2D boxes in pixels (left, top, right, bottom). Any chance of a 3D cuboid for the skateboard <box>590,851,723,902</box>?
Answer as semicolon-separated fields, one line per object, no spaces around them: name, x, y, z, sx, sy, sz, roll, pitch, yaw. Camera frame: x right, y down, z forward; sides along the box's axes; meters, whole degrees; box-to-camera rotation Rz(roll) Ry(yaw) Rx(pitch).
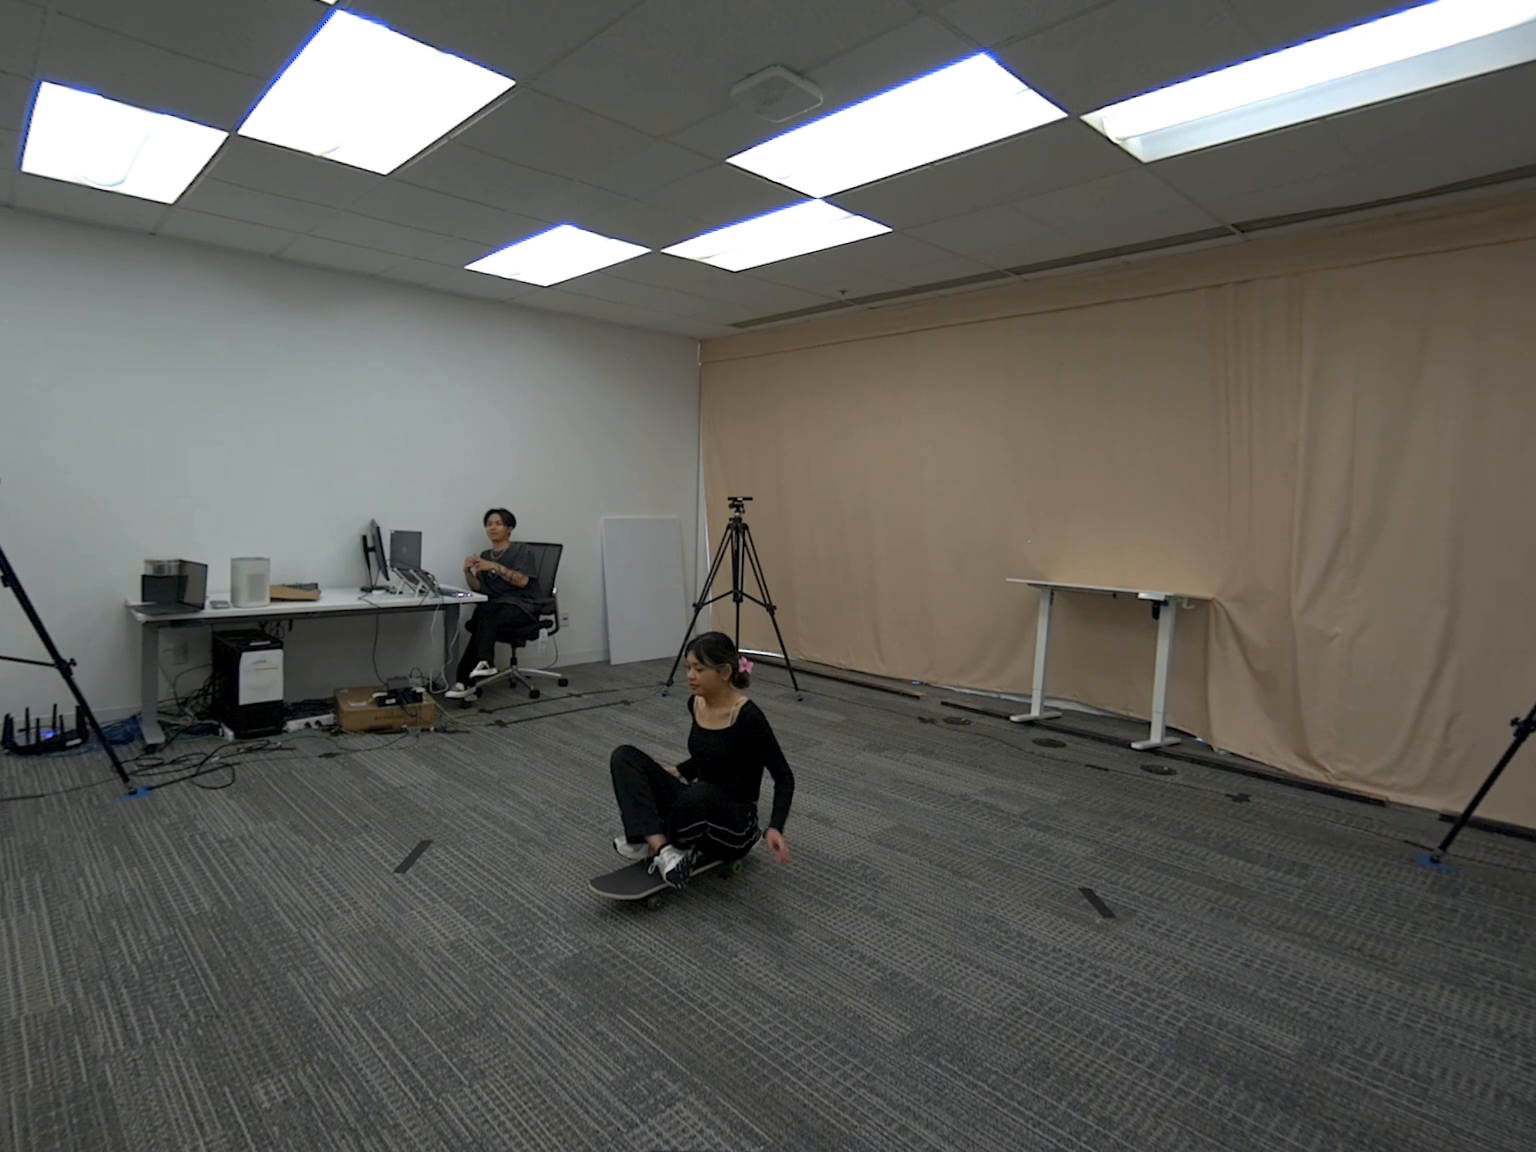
skateboard;-0.319;1.049;3.020;0.198;0.110;0.768;5;5;39
